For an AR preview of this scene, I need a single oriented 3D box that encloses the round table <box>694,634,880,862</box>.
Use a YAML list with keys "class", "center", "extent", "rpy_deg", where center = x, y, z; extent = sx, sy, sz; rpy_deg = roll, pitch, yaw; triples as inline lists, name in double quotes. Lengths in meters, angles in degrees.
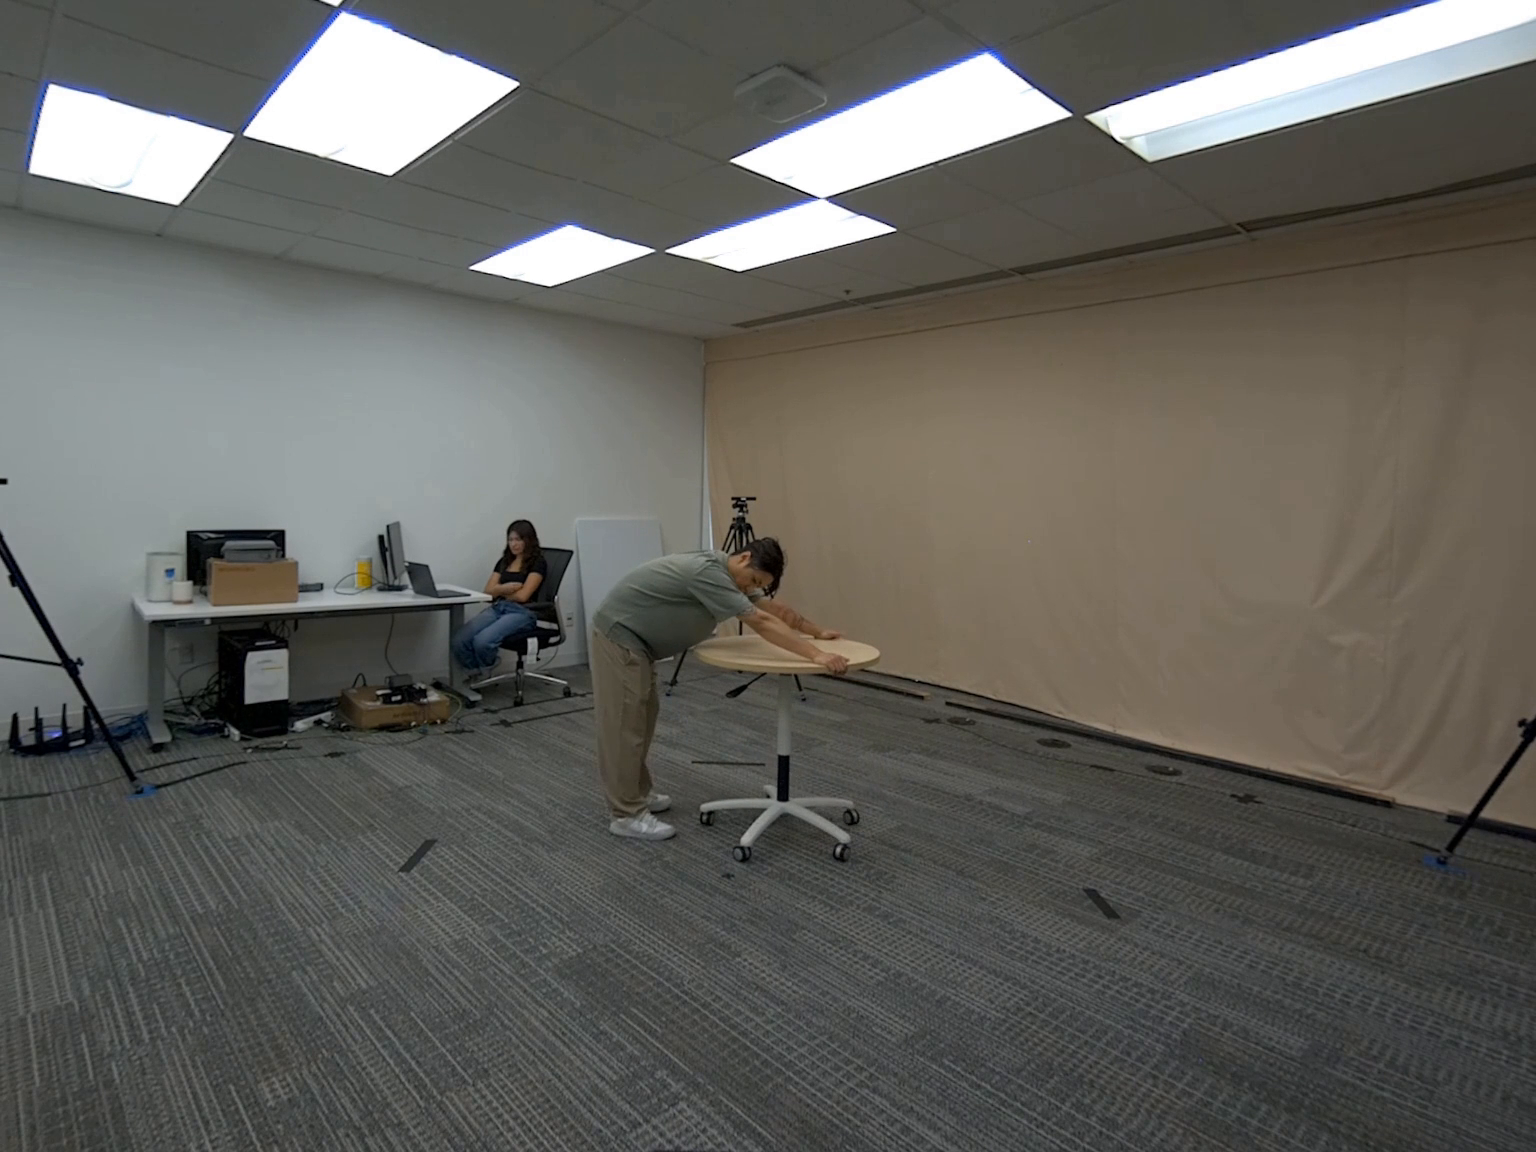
- class: "round table"
  center: [0.064, 0.686, 3.519]
  extent: [0.784, 0.784, 0.788]
  rpy_deg: [1, 4, -1]
